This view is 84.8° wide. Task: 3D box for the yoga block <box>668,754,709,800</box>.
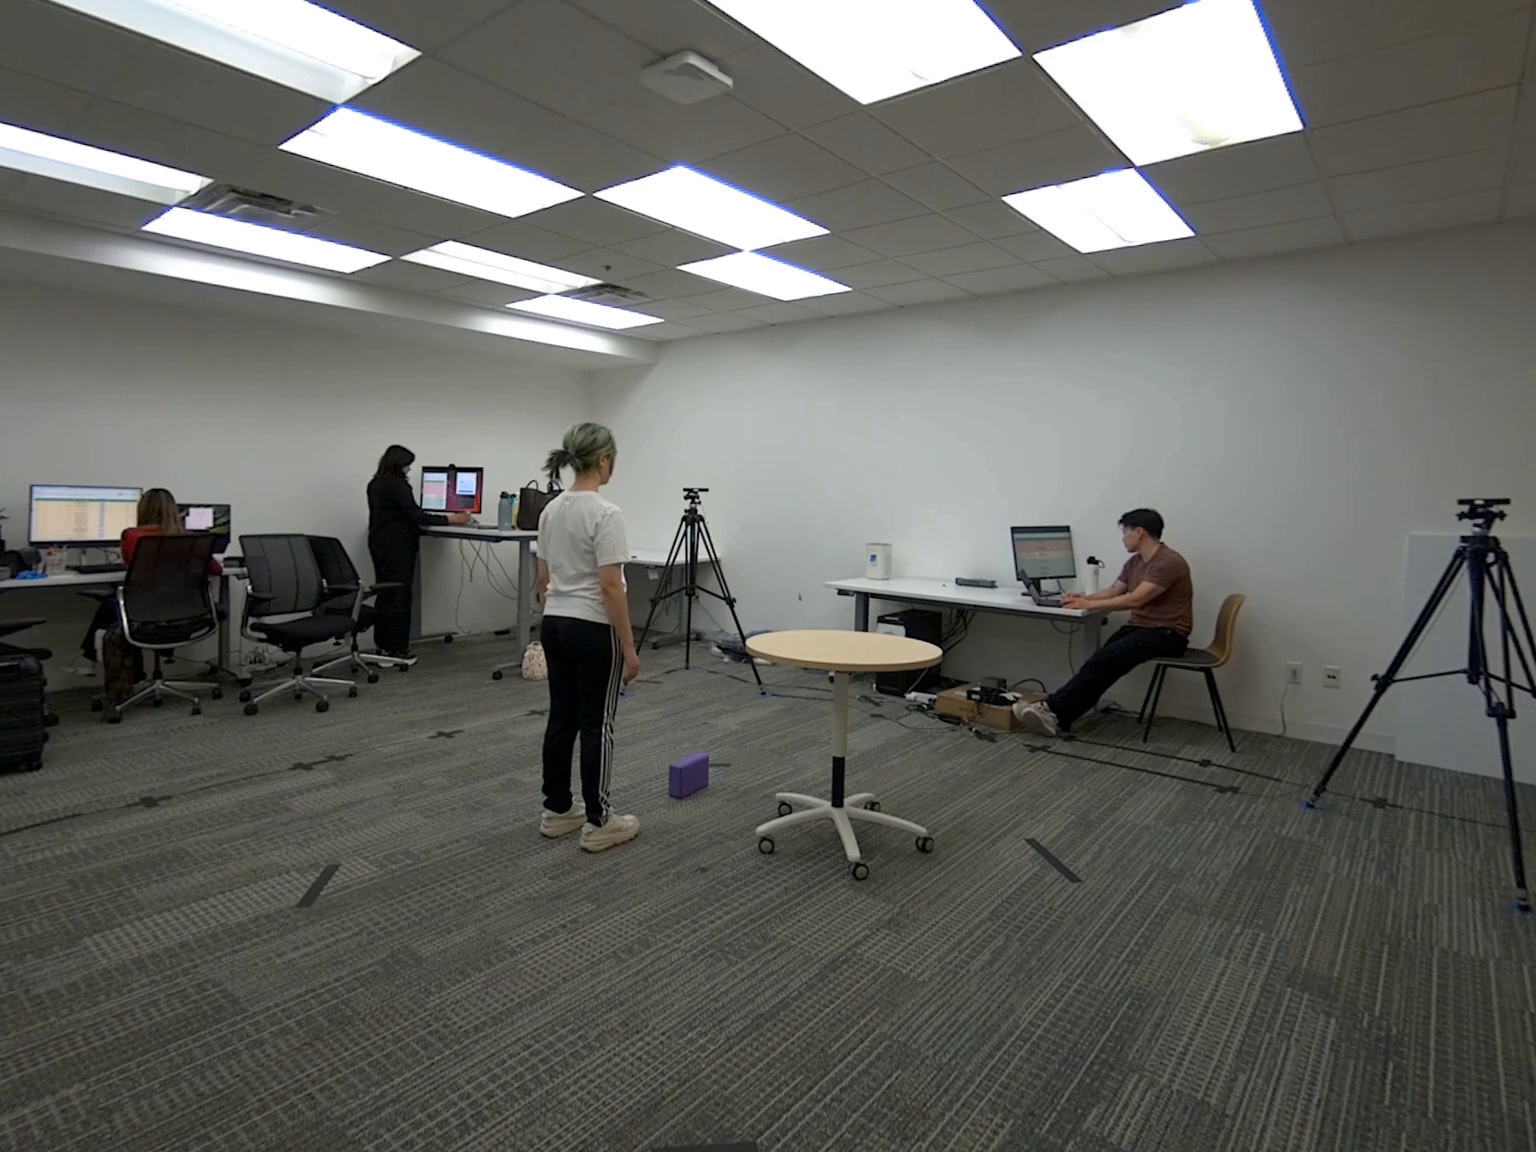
[{"bbox_3d":[-0.375,0.913,3.924,0.079,0.148,0.223,3,4,31],"label":"yoga block"}]
